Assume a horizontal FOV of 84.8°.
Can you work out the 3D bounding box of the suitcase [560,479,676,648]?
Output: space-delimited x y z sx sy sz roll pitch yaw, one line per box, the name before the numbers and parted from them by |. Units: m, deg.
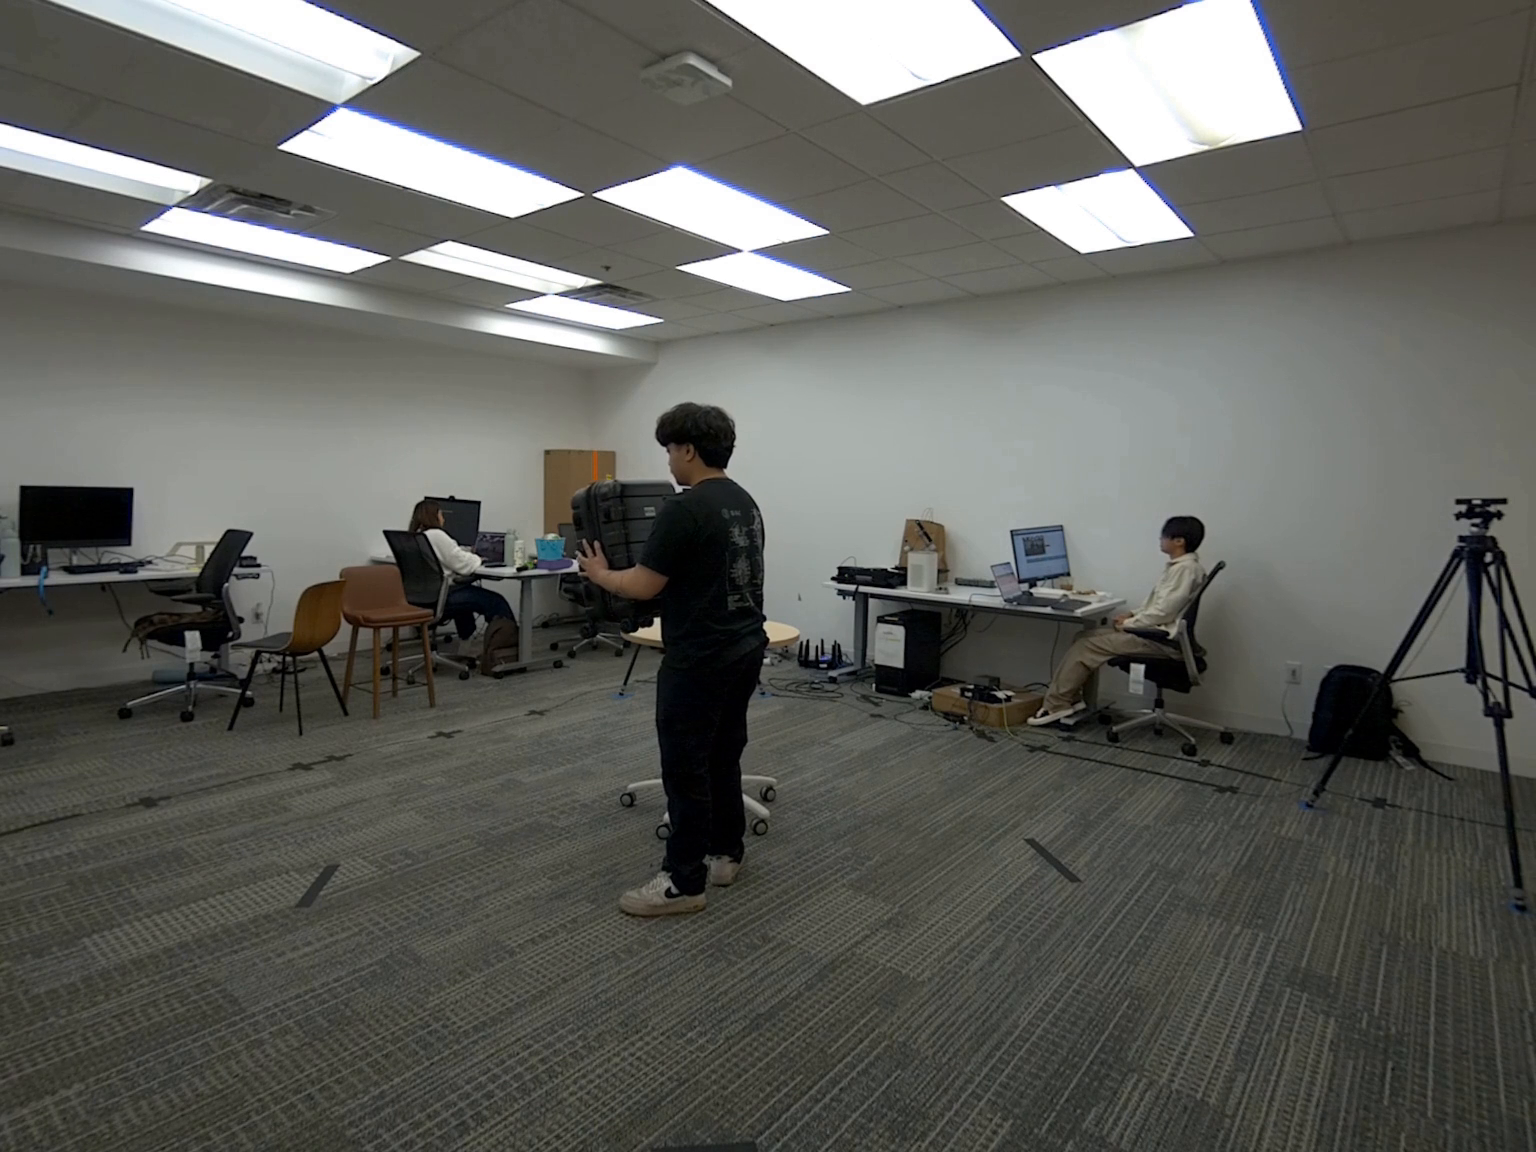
suitcase | -0.508 -0.080 3.077 0.255 0.551 0.365 -11 -2 40
